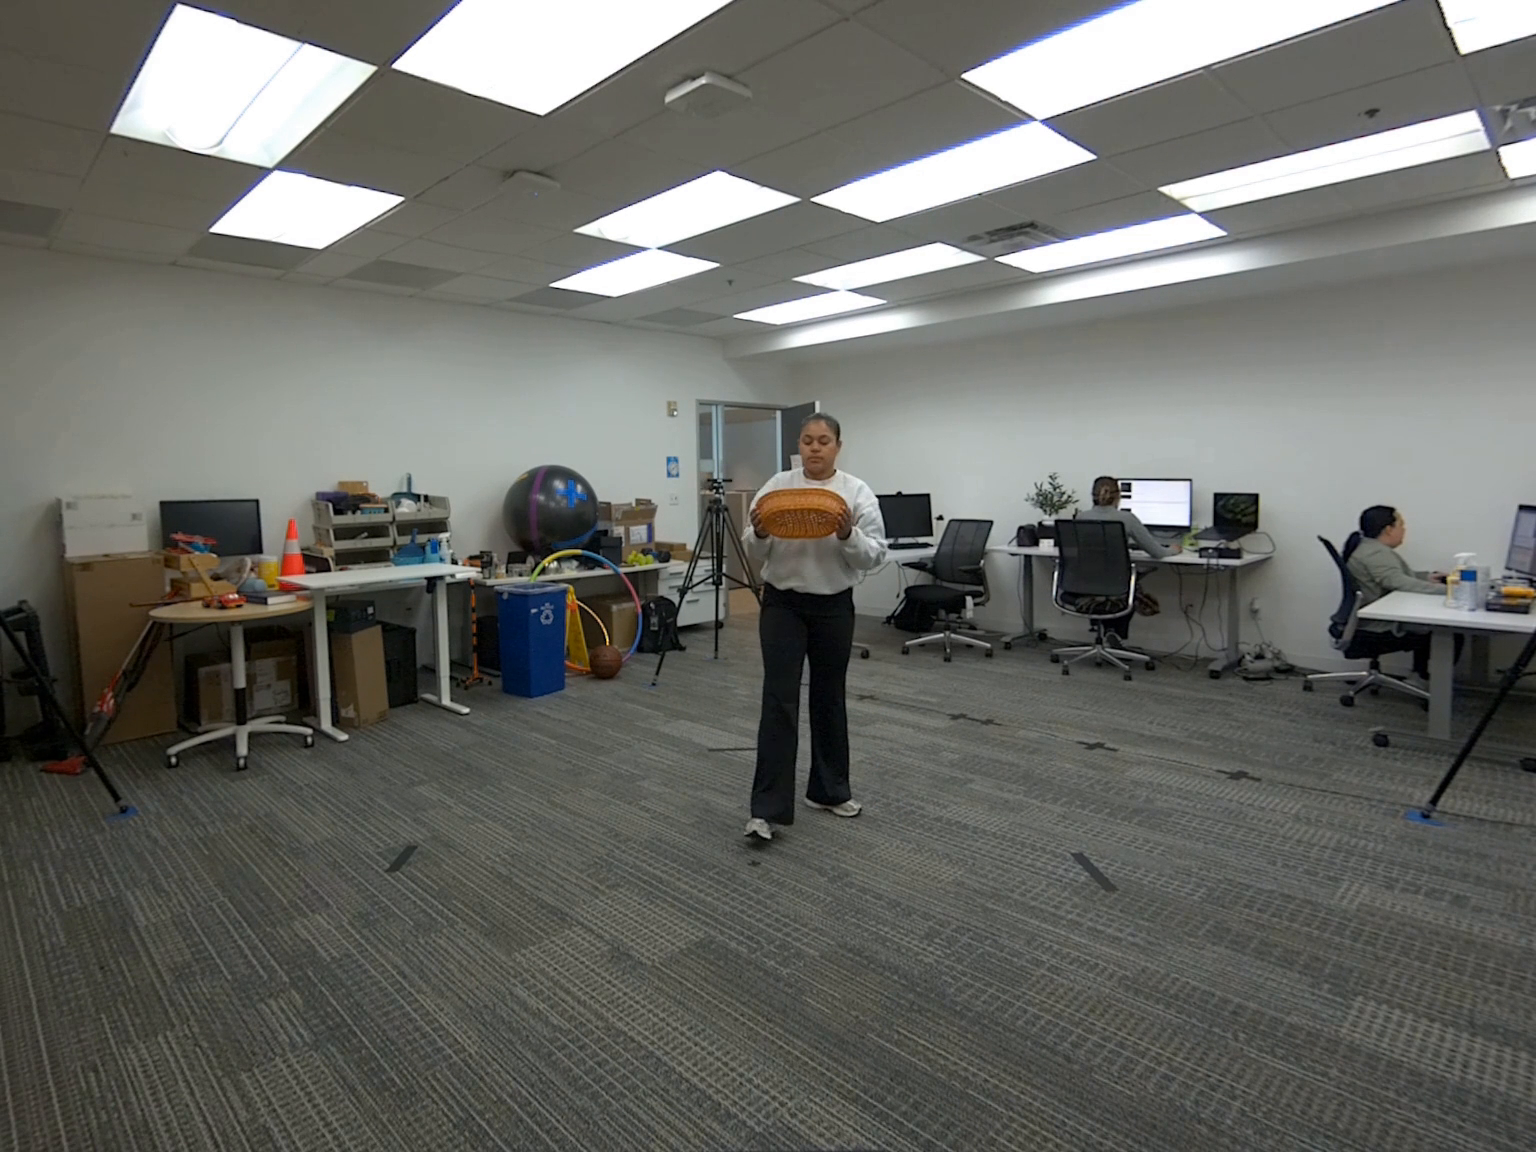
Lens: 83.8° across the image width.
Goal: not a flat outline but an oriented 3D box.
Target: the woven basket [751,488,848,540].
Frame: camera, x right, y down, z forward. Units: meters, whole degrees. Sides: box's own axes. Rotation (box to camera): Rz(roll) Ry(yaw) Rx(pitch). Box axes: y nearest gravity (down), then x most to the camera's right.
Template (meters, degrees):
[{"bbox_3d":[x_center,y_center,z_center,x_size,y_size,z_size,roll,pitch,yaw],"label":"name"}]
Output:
[{"bbox_3d":[0.126,-0.210,3.164,0.356,0.075,0.243,-5,-37,18],"label":"woven basket"}]
